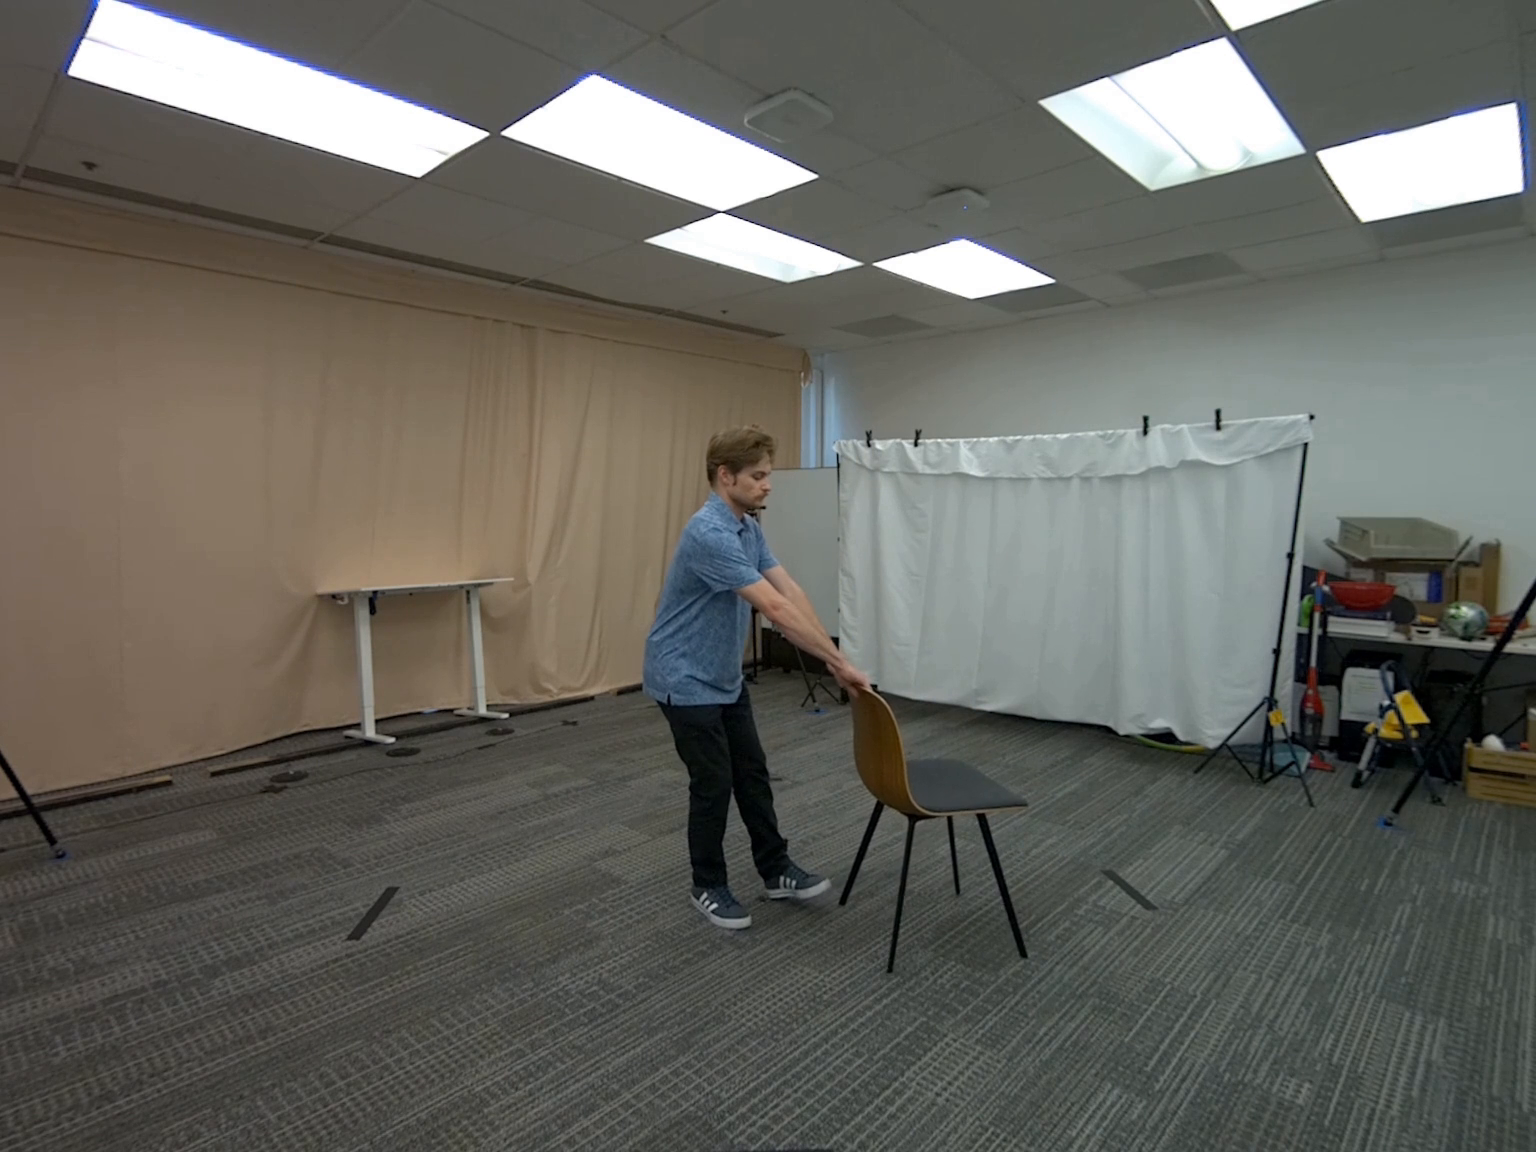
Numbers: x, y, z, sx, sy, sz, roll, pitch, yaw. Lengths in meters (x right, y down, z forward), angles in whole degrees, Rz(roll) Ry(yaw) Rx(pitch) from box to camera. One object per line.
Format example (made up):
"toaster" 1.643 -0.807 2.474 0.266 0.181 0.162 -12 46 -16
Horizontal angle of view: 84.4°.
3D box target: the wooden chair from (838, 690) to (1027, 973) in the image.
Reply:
"wooden chair" 0.534 0.736 2.735 0.517 0.875 0.485 -5 4 -13
